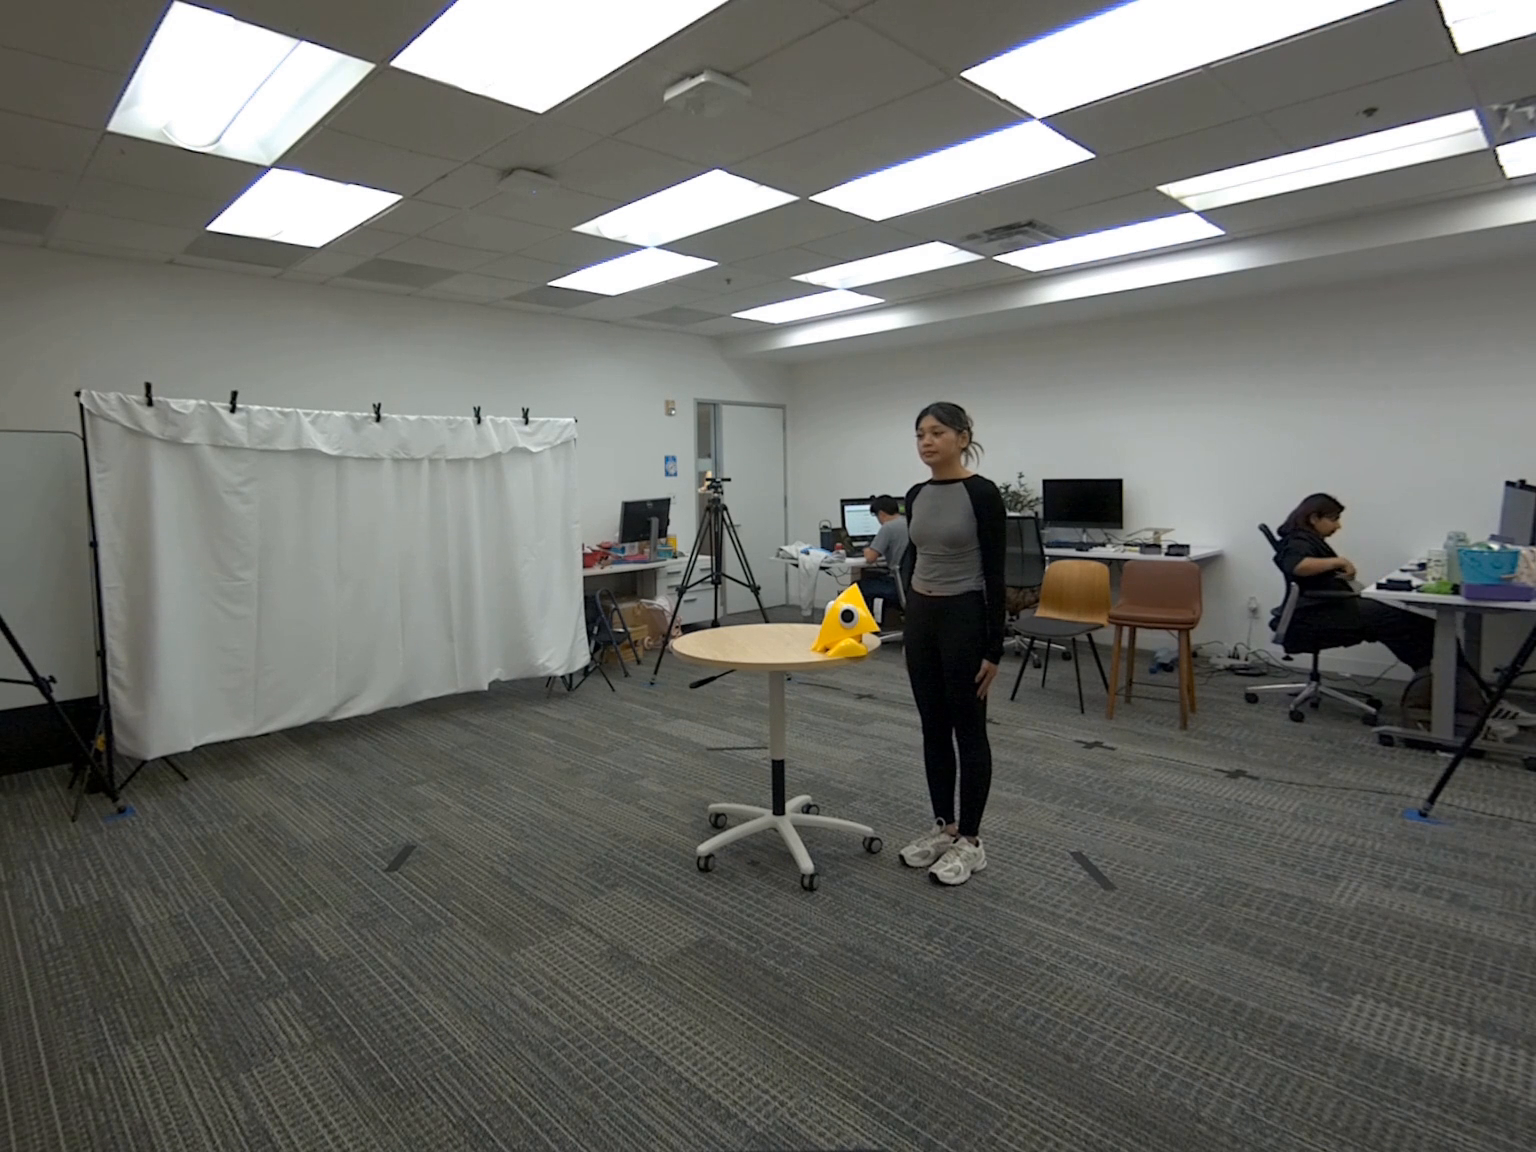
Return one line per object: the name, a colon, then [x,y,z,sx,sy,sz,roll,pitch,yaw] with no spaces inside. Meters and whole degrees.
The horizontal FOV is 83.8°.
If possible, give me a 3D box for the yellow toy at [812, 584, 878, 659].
yellow toy: [0.258,0.143,2.940,0.189,0.230,0.209,-4,5,-24]
